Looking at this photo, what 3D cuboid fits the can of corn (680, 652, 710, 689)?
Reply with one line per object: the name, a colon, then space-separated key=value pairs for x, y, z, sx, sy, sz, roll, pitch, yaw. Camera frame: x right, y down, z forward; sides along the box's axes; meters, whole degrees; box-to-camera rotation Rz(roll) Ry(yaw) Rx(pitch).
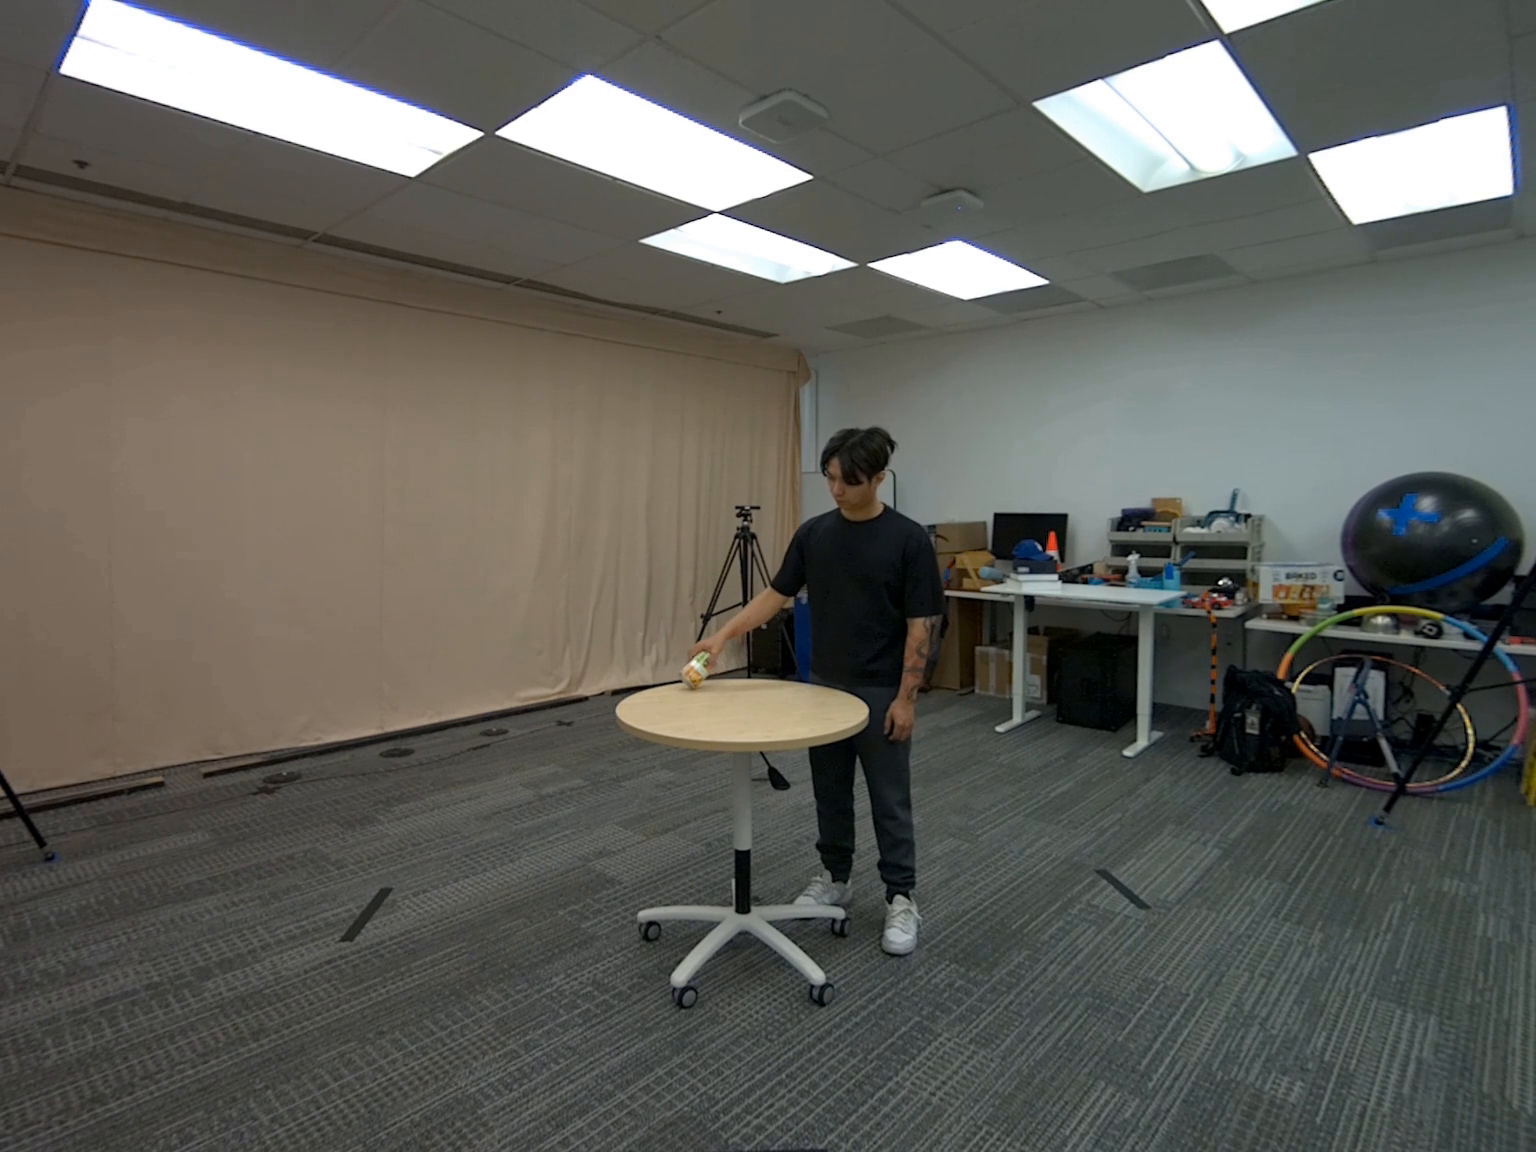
can of corn: x=-0.230 y=0.316 z=2.813 sx=0.110 sy=0.072 sz=0.076 roll=-46 pitch=24 yaw=-19
